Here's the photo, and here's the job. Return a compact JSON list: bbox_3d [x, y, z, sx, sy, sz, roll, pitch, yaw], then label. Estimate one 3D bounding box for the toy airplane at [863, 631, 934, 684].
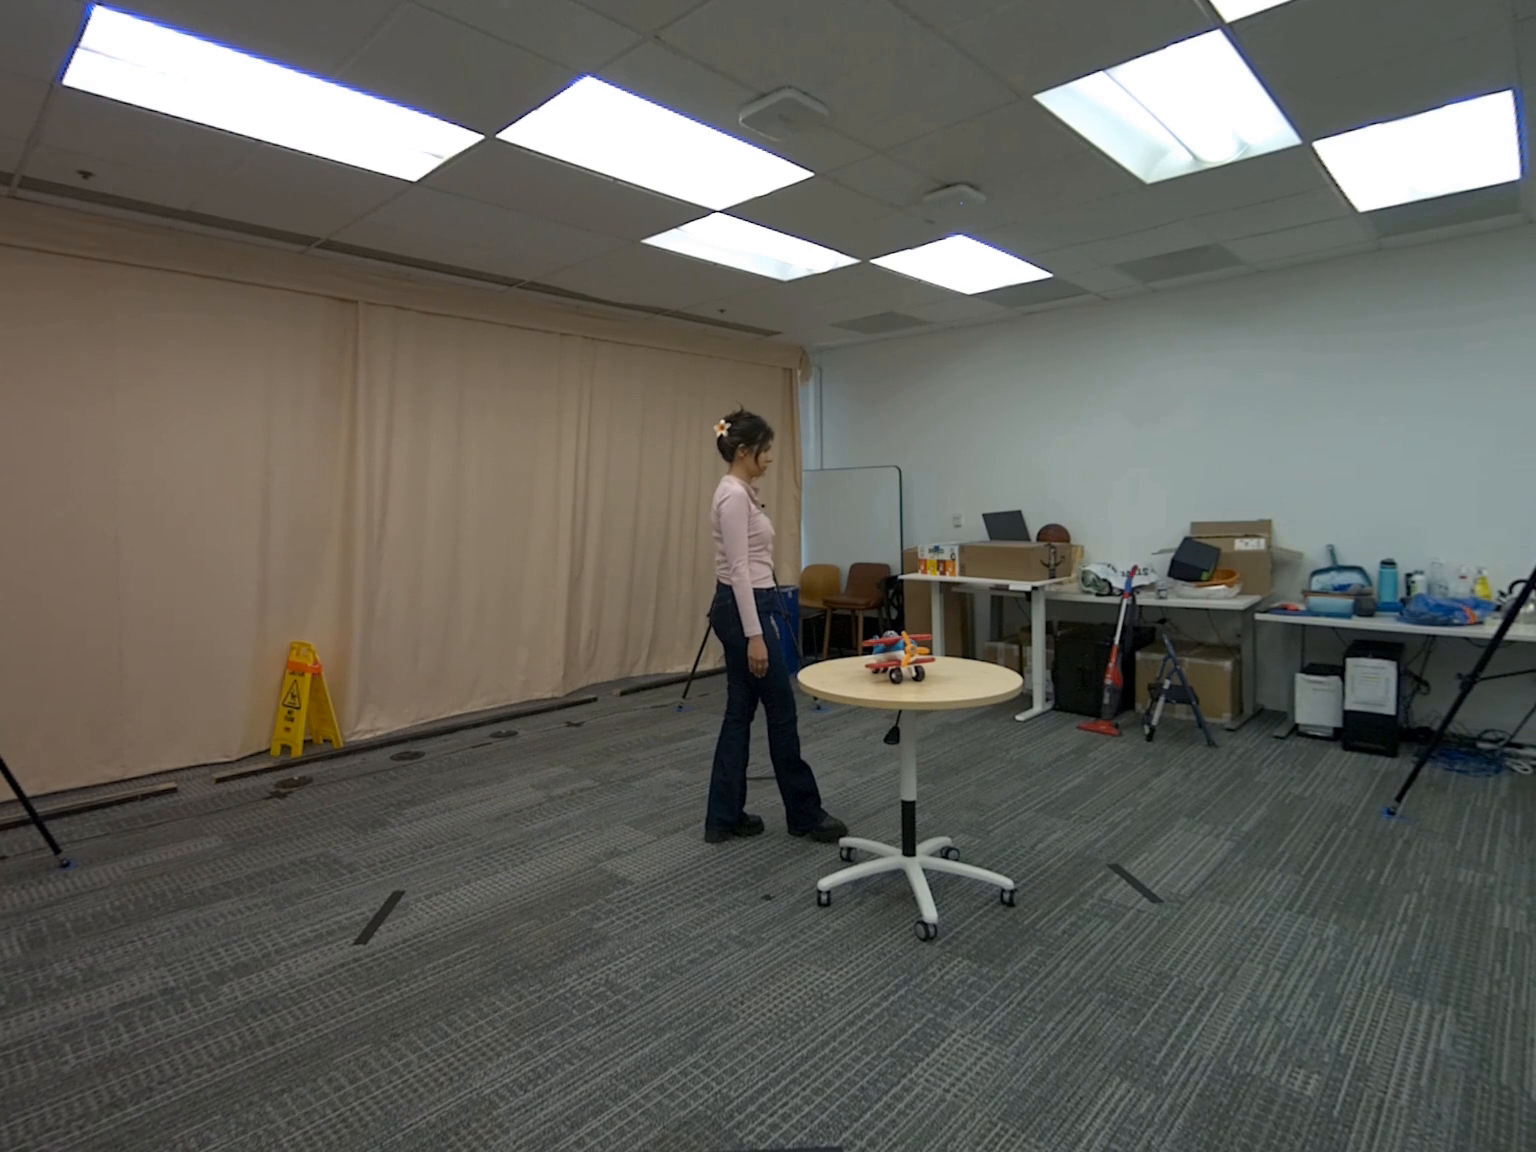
[{"bbox_3d":[0.424,0.279,2.917,0.268,0.156,0.243,3,6,42],"label":"toy airplane"}]
